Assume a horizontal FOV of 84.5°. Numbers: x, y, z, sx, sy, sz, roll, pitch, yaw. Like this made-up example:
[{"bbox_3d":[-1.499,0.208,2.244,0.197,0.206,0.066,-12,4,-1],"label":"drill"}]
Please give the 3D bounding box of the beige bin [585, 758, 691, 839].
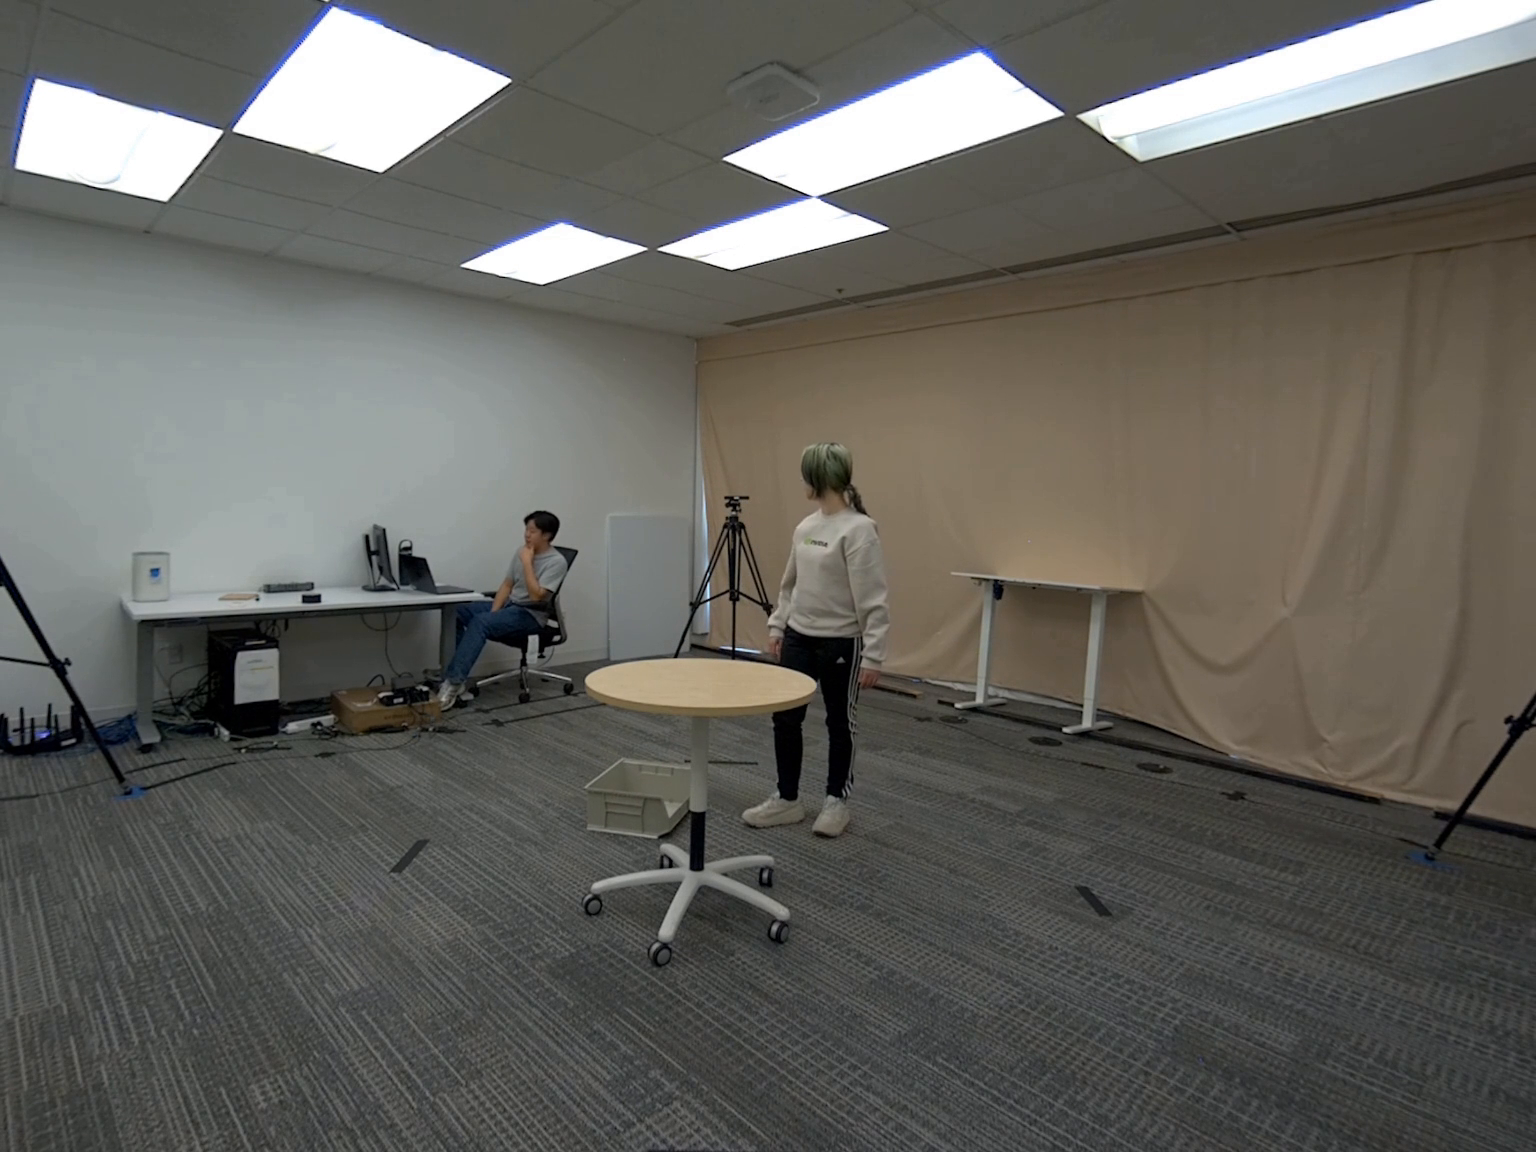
[{"bbox_3d":[-0.552,0.960,3.644,0.381,0.188,0.419,2,5,13],"label":"beige bin"}]
